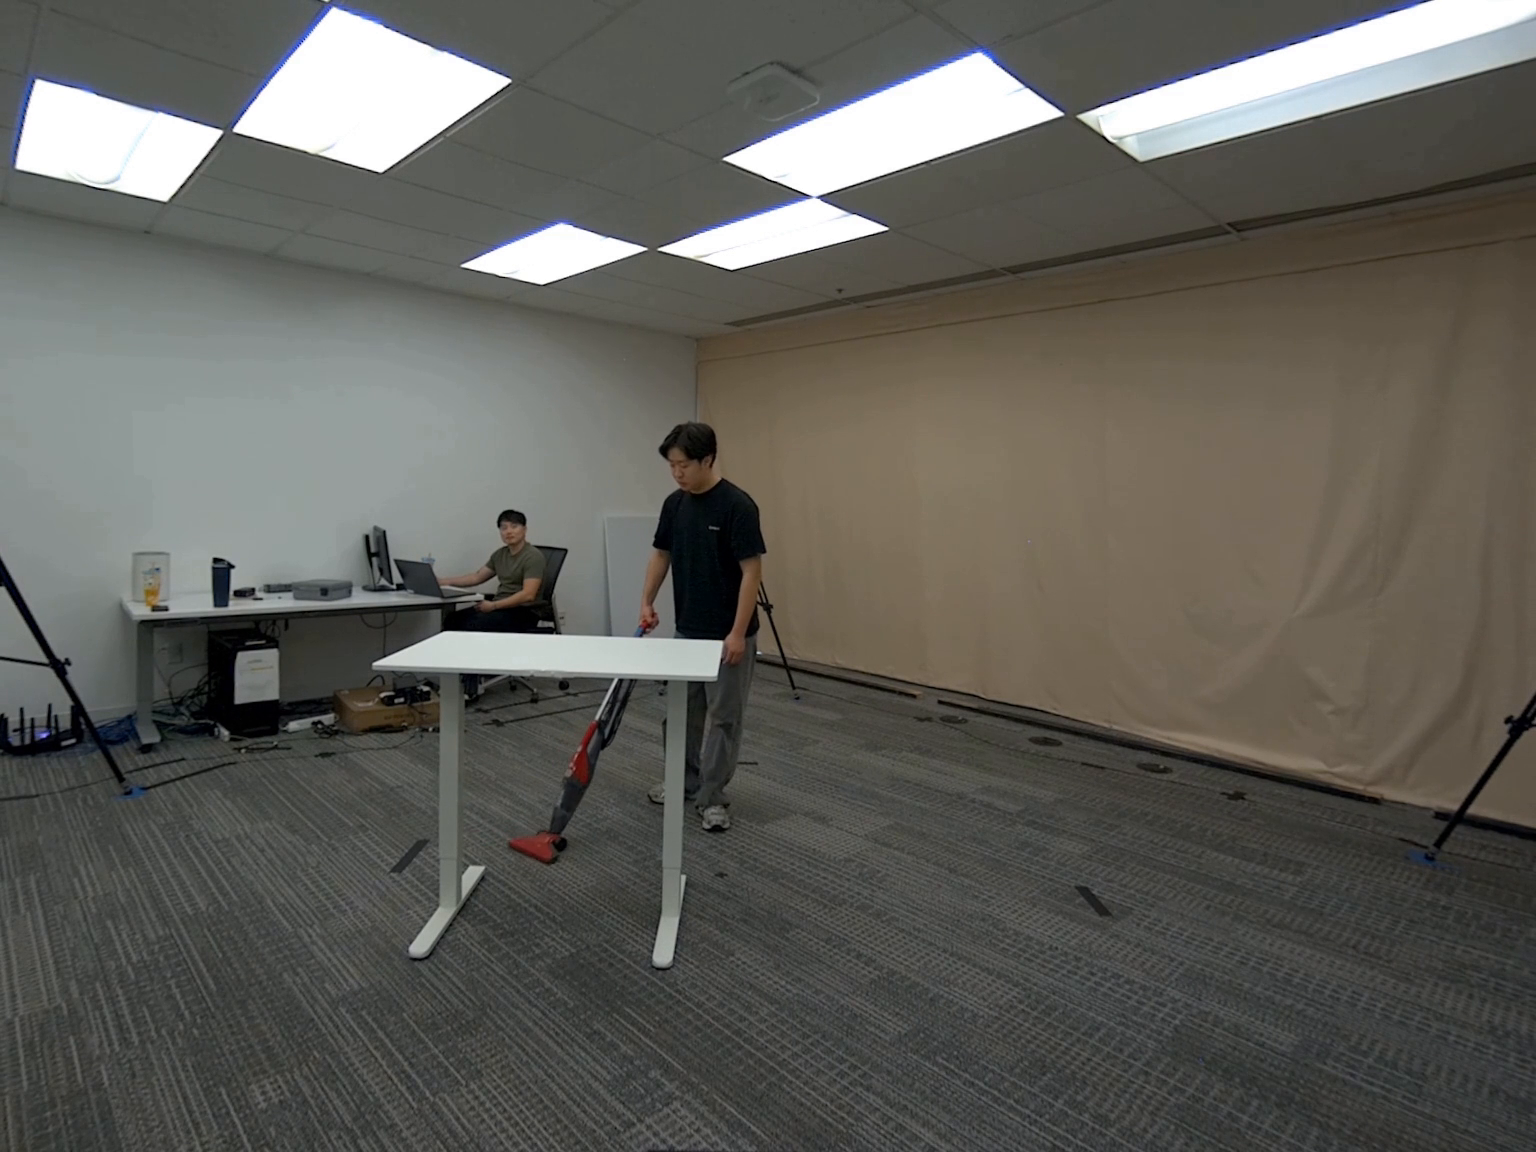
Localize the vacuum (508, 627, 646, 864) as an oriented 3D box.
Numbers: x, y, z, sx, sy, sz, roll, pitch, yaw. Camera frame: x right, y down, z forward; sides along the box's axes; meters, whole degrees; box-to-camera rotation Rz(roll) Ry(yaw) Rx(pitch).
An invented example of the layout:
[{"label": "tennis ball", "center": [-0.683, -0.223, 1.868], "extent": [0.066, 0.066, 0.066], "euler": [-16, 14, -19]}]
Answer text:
[{"label": "vacuum", "center": [-0.699, 0.627, 3.498], "extent": [0.259, 1.057, 0.139], "euler": [5, -31, 35]}]
